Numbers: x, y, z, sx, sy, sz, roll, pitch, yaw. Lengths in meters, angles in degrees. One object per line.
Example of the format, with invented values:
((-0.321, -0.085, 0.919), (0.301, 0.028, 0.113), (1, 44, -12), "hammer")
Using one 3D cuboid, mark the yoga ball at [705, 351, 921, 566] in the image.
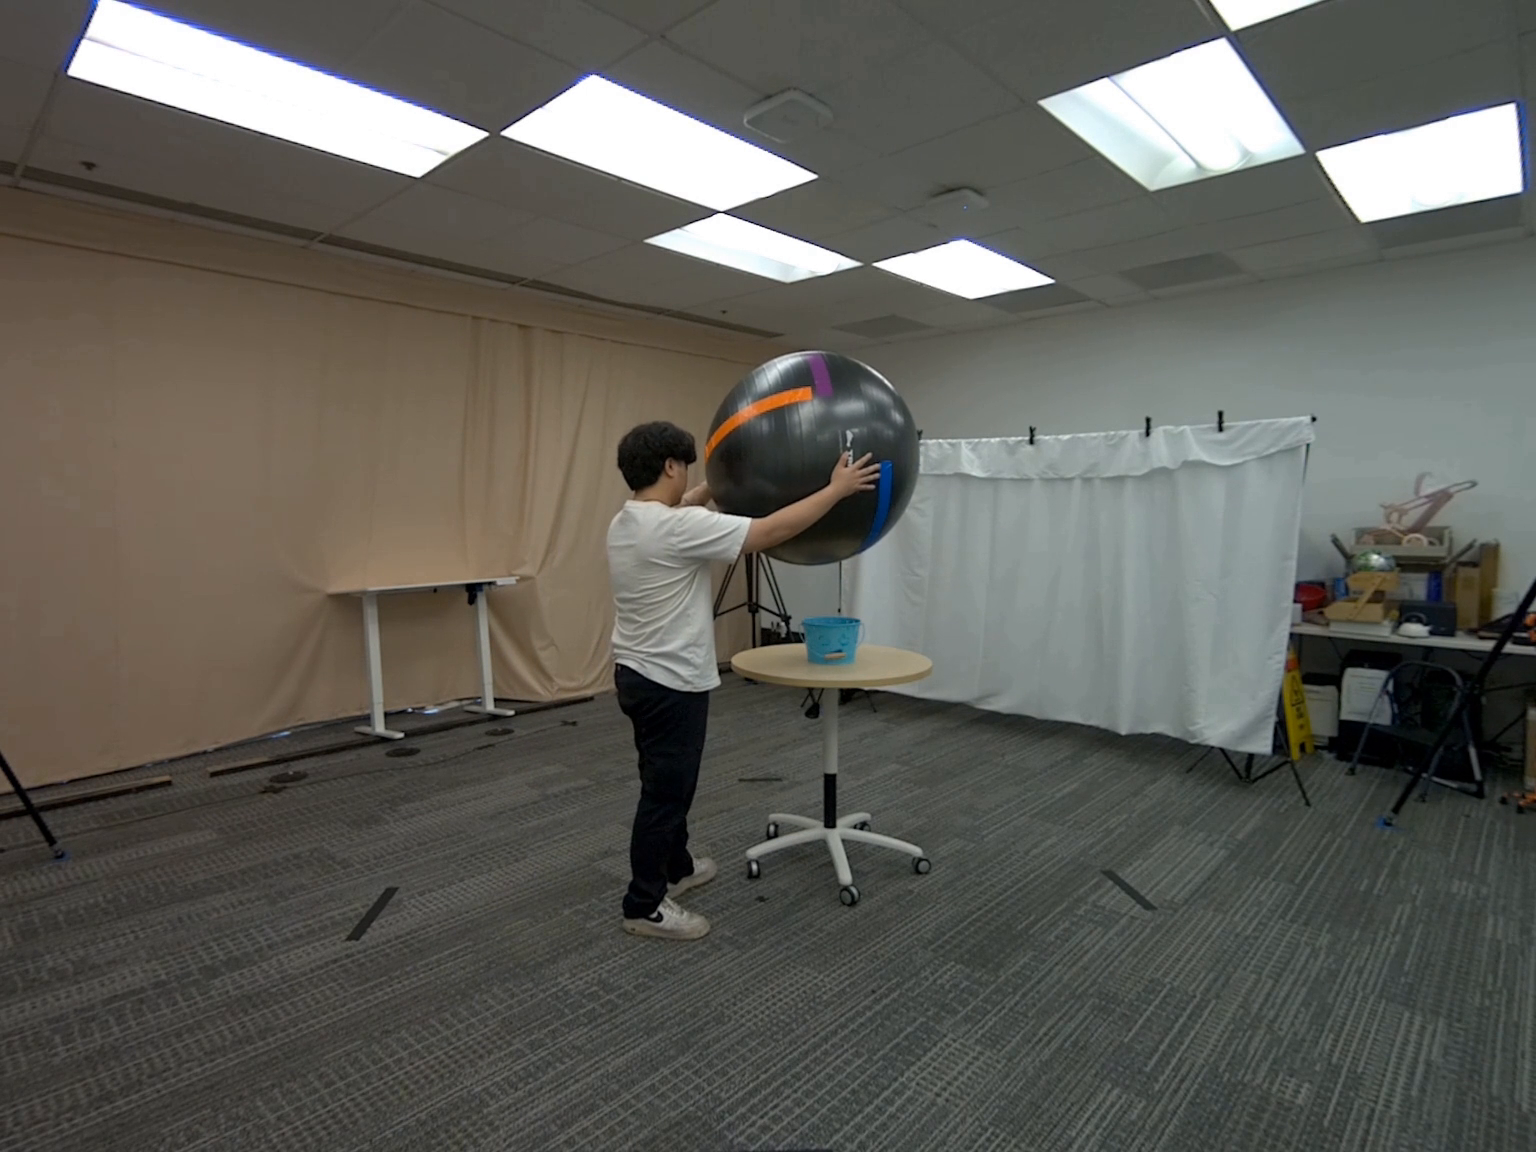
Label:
((0.161, -0.413, 3.023), (0.757, 0.756, 0.761), (0, 4, -2), "yoga ball")
